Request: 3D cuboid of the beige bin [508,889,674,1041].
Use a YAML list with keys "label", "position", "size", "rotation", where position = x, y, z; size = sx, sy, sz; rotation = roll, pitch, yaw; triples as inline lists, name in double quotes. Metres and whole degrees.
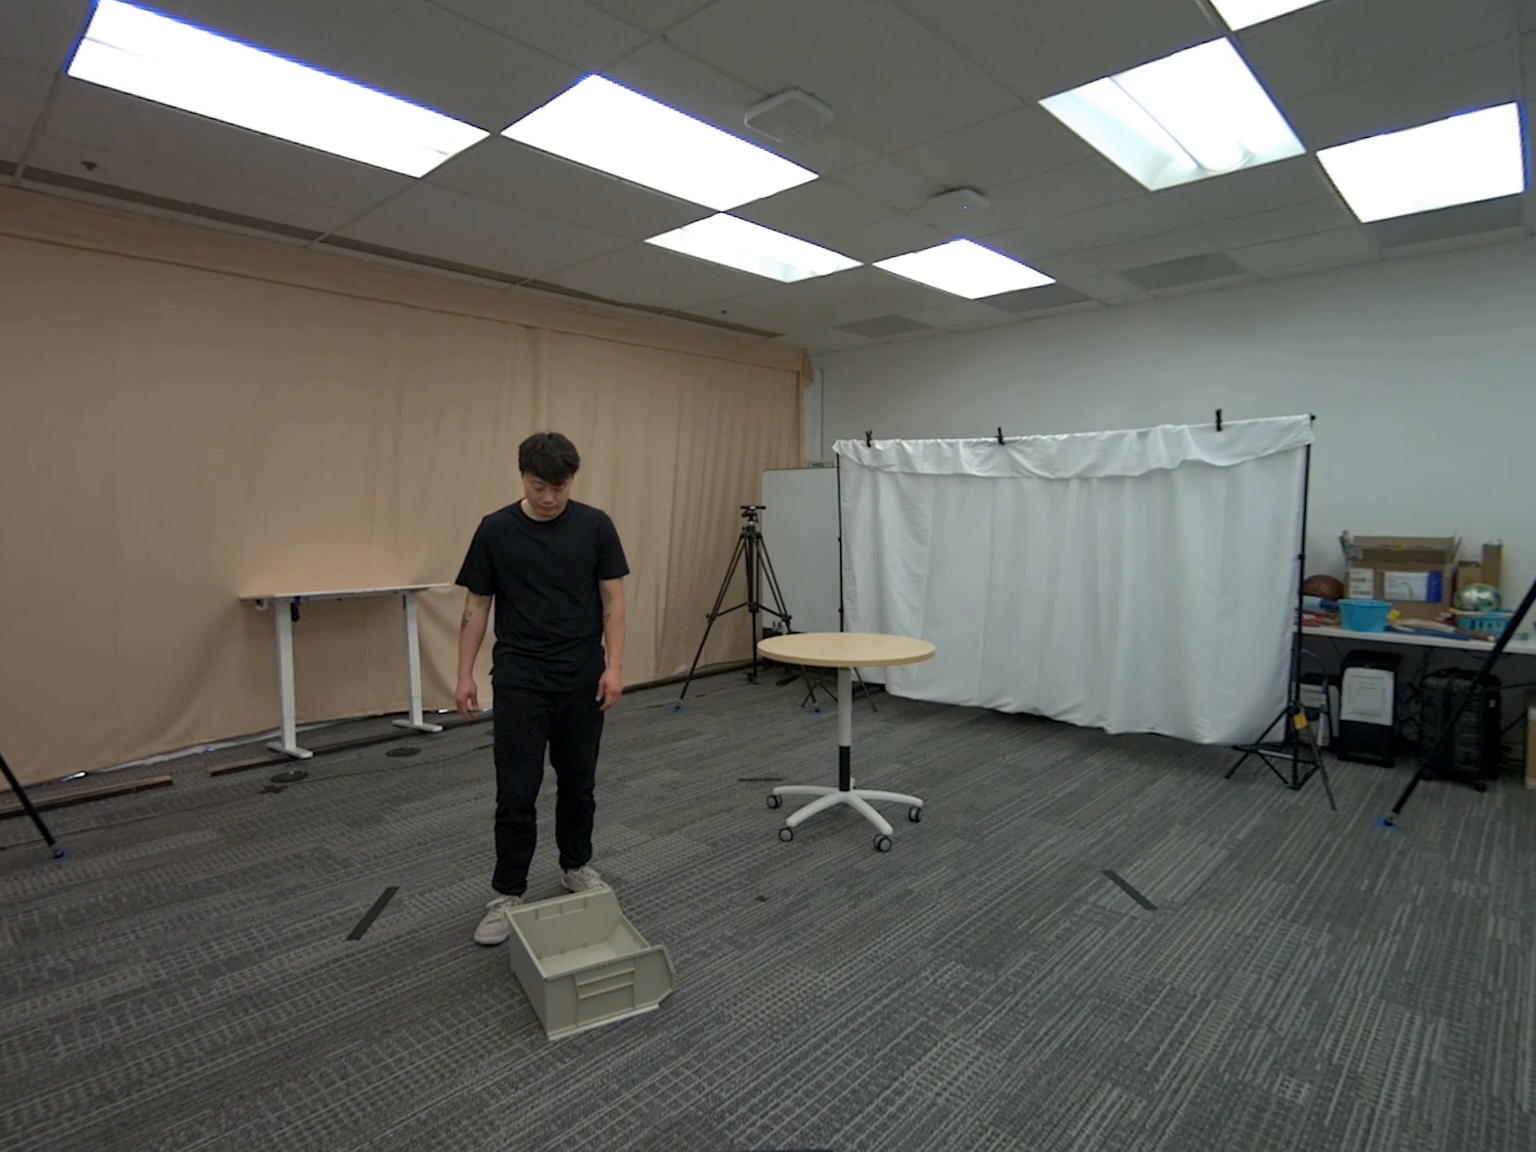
- label: "beige bin"
  position: [-0.525, 1.106, 2.440]
  size: [0.367, 0.188, 0.435]
  rotation: [-3, 6, -30]
